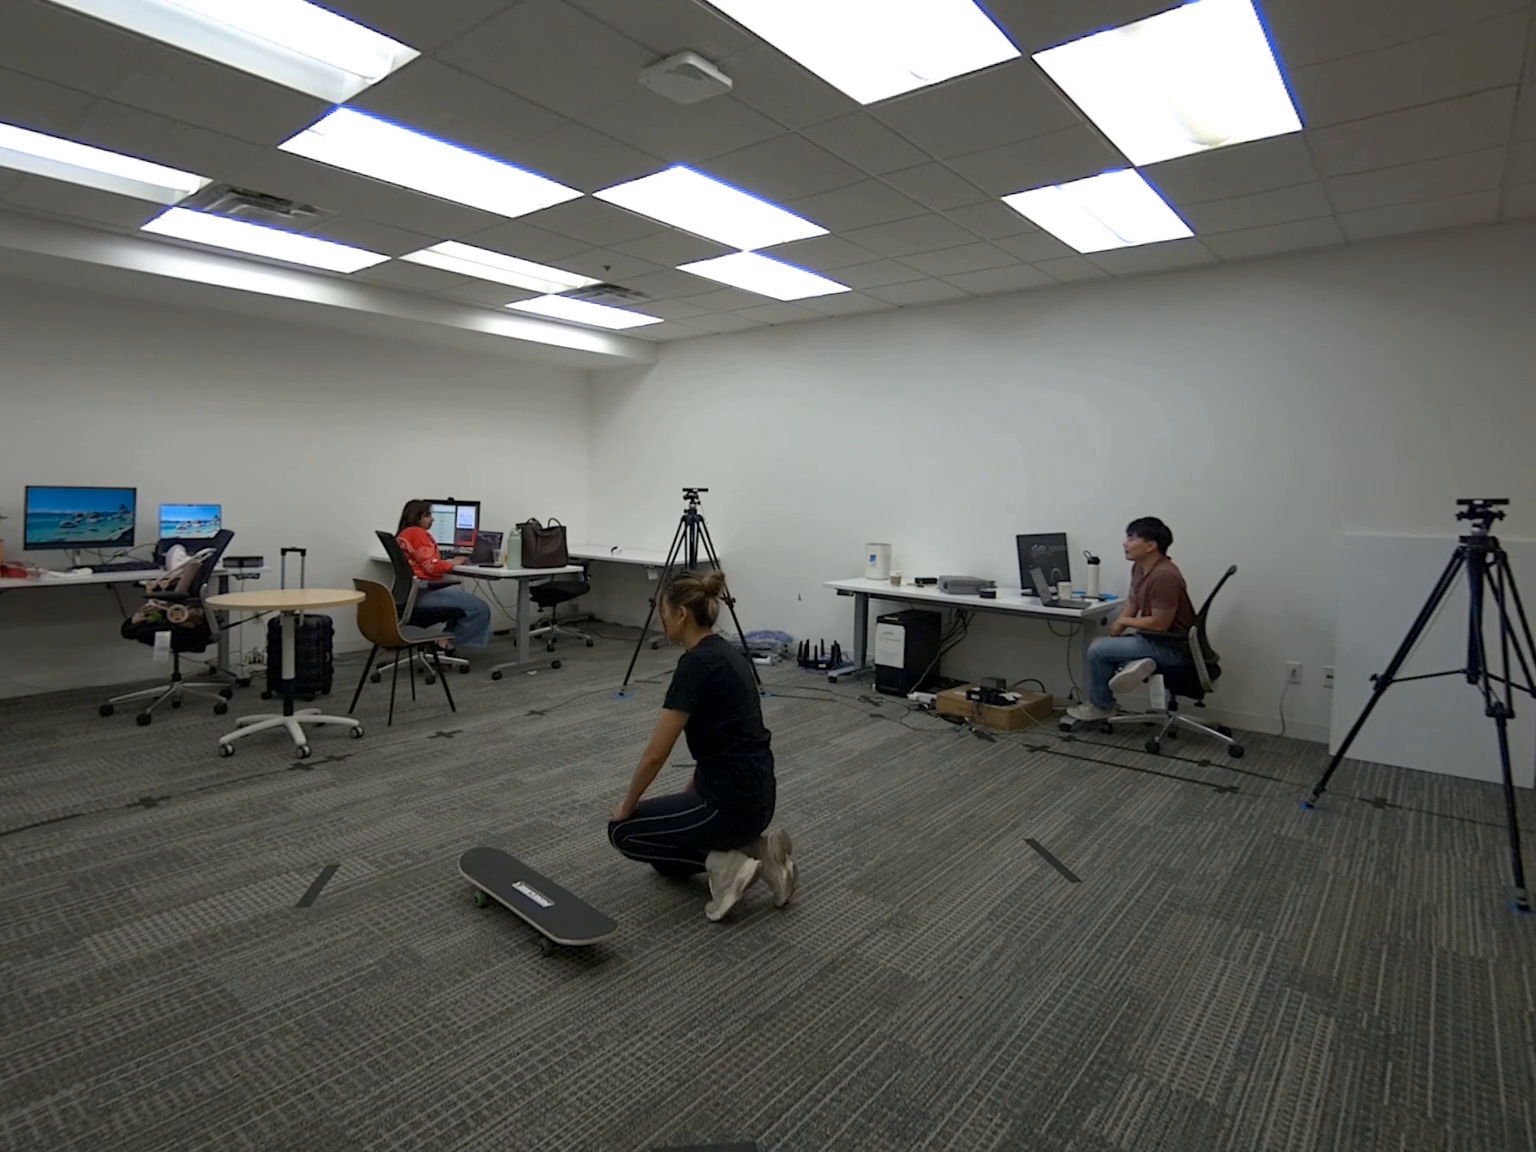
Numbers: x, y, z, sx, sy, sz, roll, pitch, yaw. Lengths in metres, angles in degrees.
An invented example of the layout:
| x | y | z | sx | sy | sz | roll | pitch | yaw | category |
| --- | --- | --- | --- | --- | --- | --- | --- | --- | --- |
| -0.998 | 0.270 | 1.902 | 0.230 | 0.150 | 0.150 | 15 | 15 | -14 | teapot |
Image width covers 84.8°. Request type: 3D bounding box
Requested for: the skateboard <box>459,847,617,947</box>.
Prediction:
| x | y | z | sx | sy | sz | roll | pitch | yaw | category |
| --- | --- | --- | --- | --- | --- | --- | --- | --- | --- |
| -0.763 | 1.044 | 2.714 | 0.812 | 0.110 | 0.188 | 6 | 7 | 44 | skateboard |
